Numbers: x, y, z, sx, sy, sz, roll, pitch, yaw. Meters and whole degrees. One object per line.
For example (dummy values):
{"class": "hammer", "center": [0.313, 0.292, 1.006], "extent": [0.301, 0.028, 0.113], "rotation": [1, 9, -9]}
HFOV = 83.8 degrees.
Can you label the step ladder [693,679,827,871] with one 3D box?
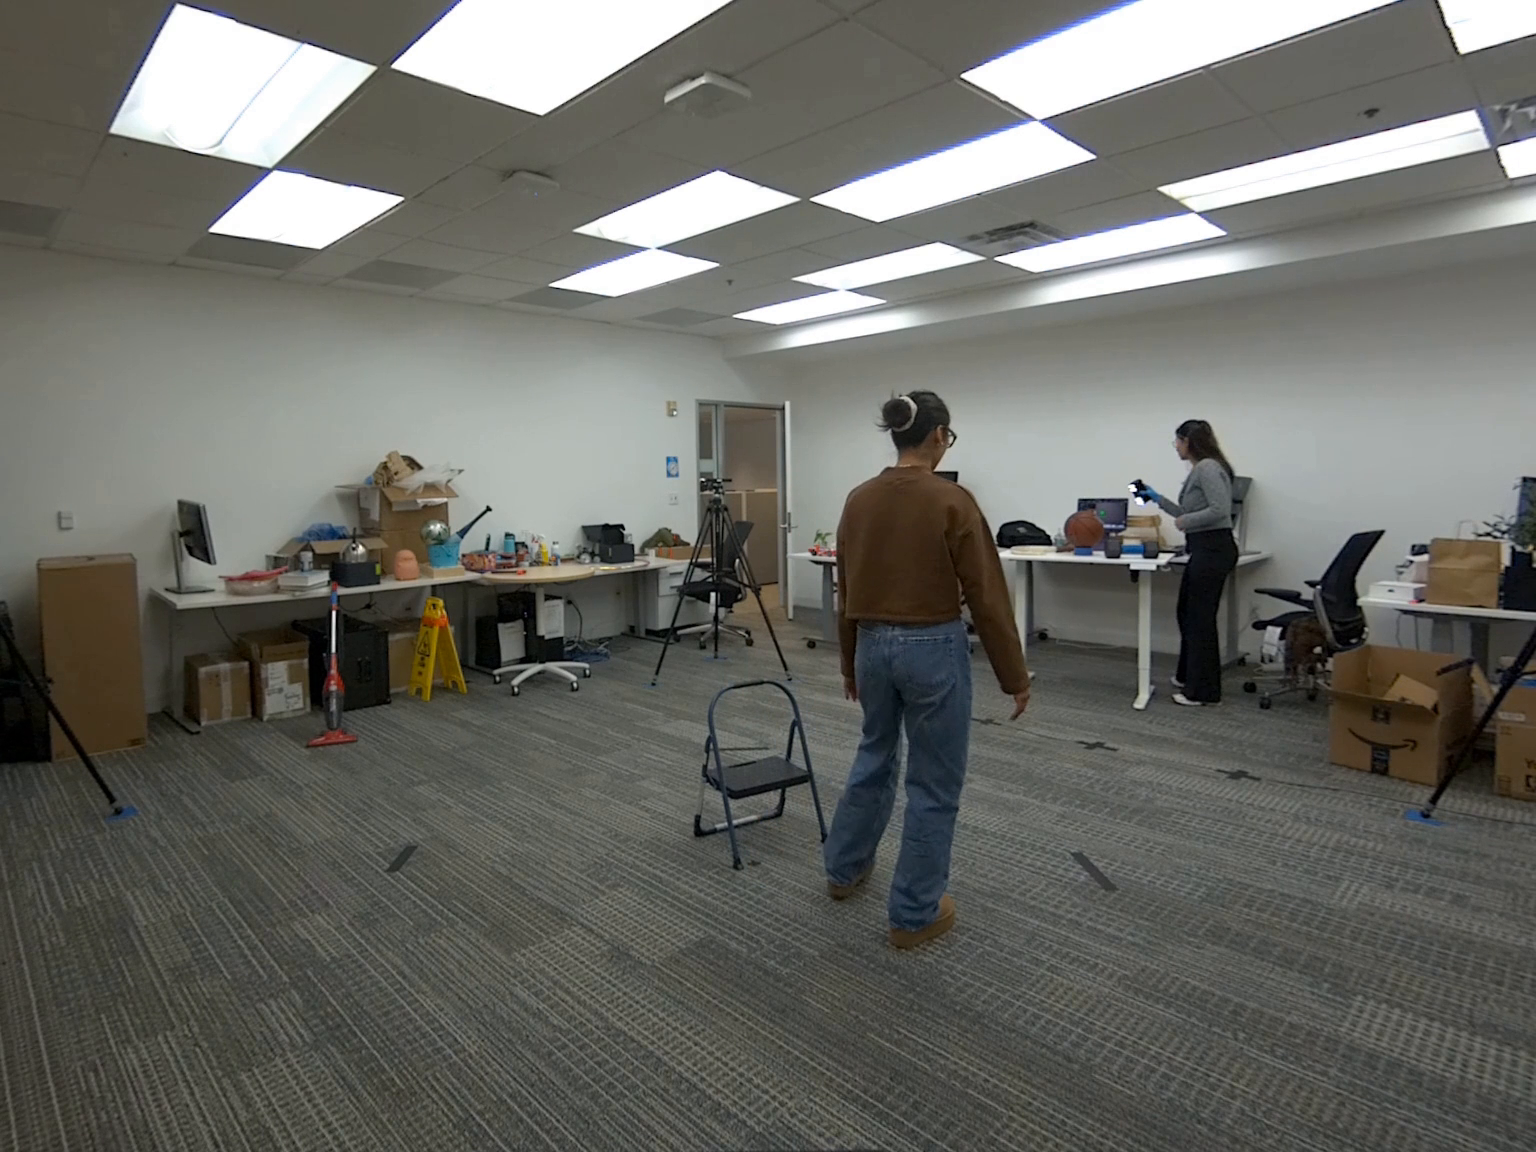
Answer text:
{"class": "step ladder", "center": [-0.031, 0.717, 3.293], "extent": [0.420, 0.604, 0.359], "rotation": [-4, 5, -33]}
